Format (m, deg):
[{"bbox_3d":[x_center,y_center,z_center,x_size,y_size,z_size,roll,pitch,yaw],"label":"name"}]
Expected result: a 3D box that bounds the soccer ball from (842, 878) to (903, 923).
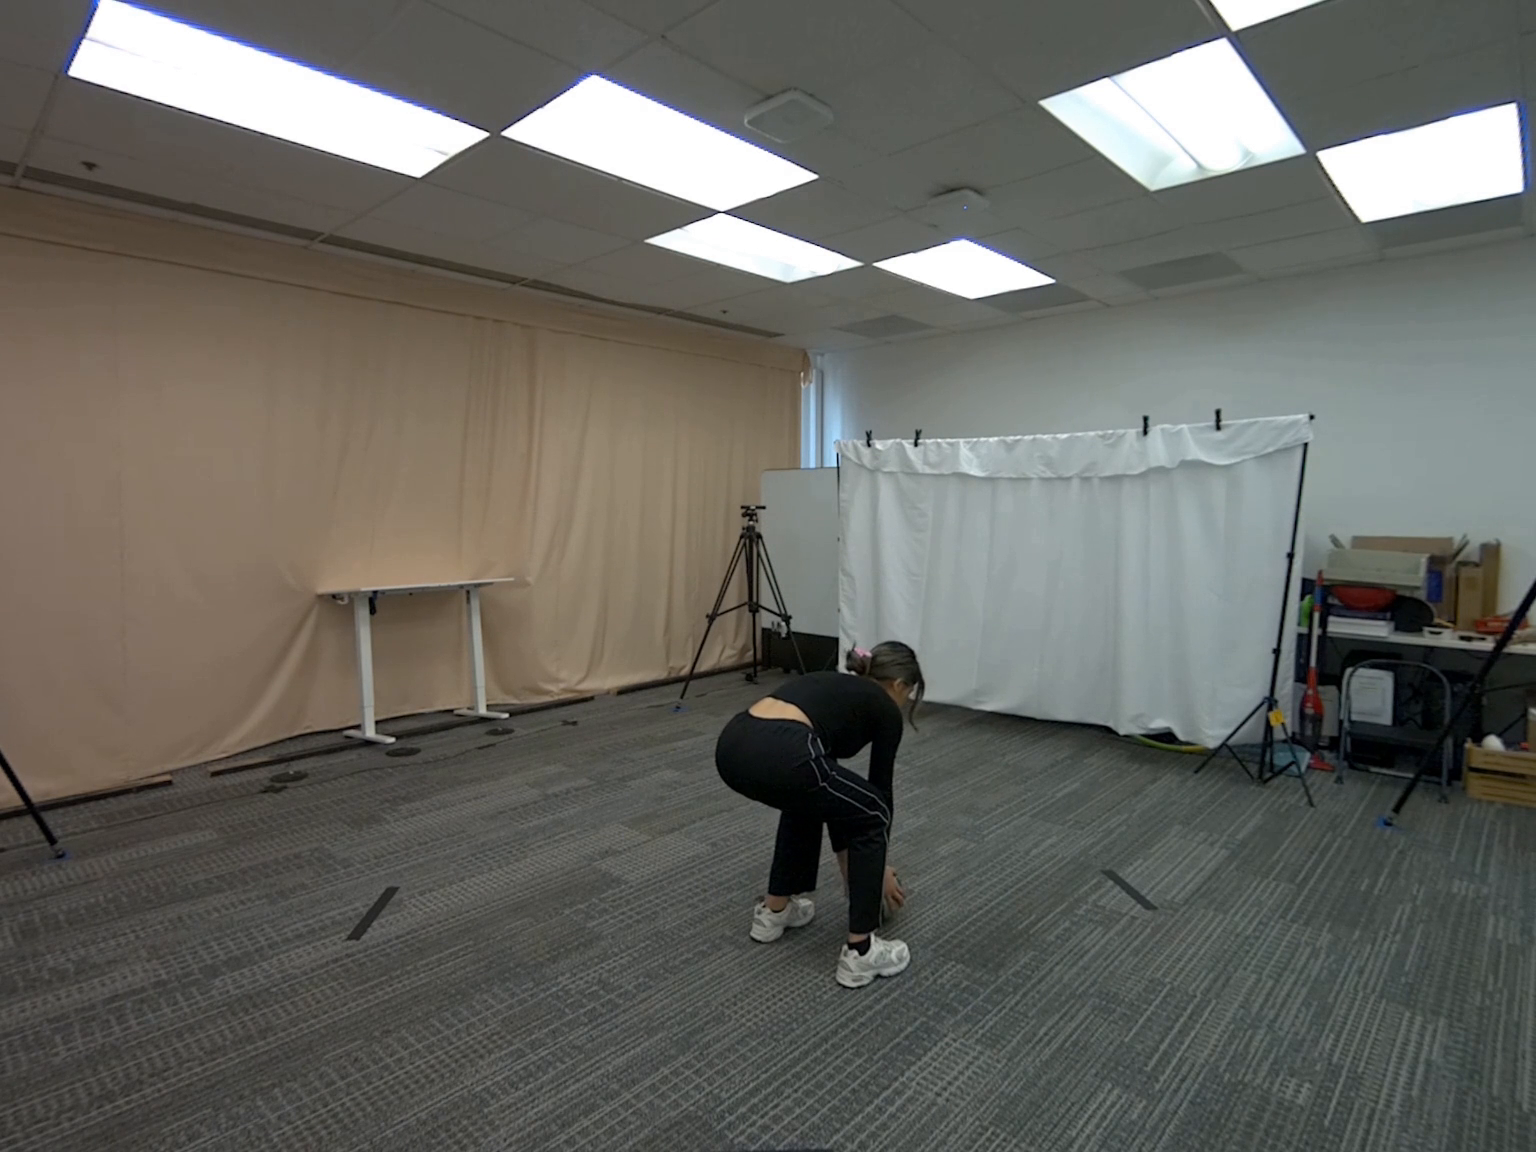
[{"bbox_3d":[0.372,1.066,2.823,0.187,0.187,0.188,0,4,-2],"label":"soccer ball"}]
